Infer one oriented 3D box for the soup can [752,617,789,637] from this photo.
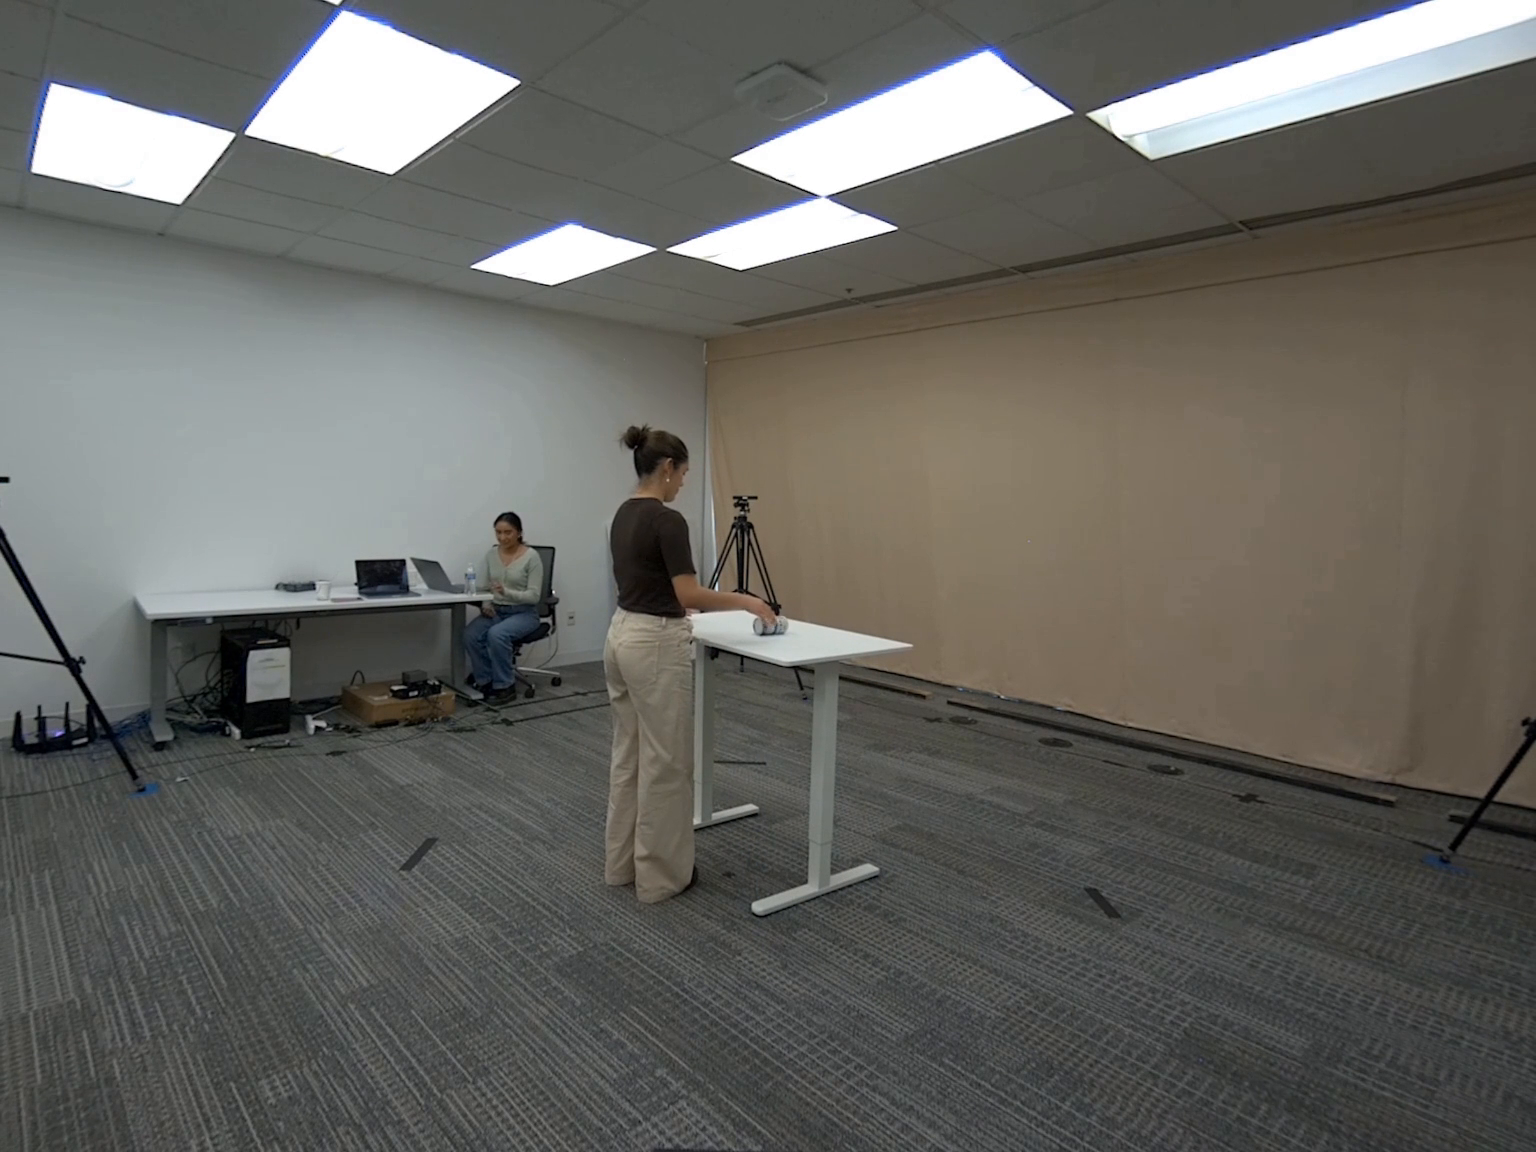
[{"bbox_3d":[0.003,0.186,3.142,0.119,0.067,0.068,1,4,-25],"label":"soup can"}]
